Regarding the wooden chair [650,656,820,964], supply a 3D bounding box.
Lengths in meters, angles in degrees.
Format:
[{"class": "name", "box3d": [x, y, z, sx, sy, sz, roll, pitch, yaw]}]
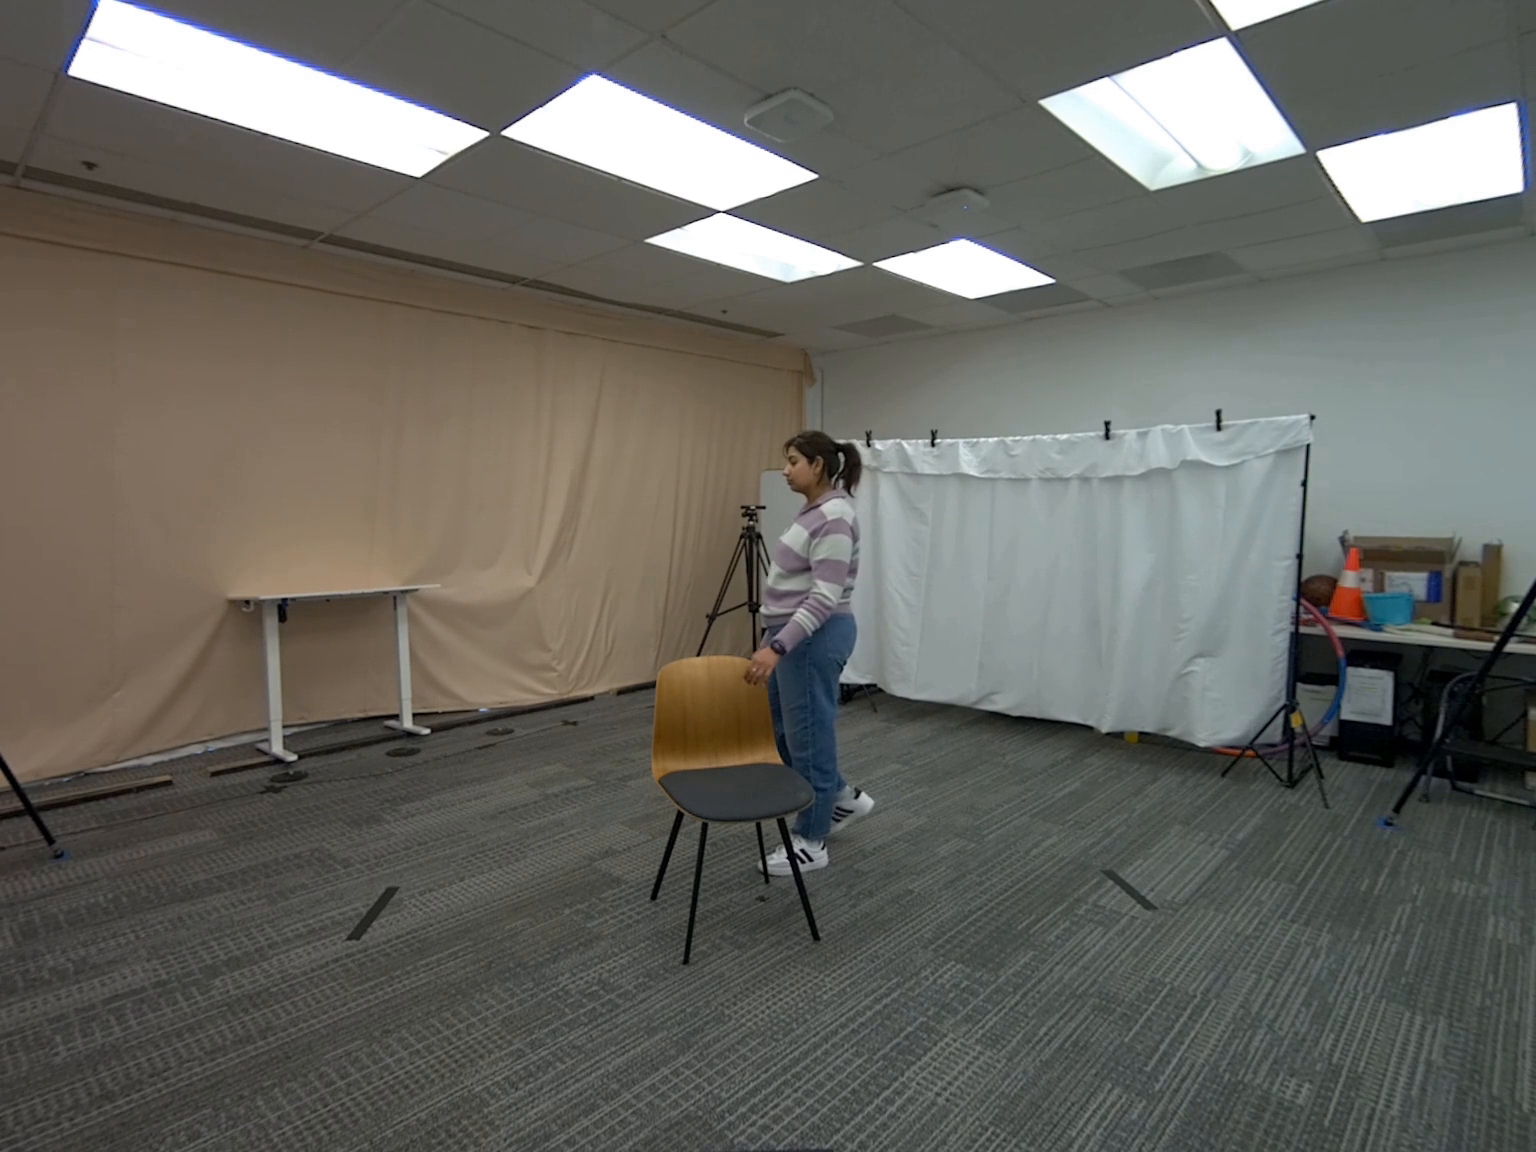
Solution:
[{"class": "wooden chair", "box3d": [-0.121, 0.734, 2.797, 0.469, 0.878, 0.533, -1, -1, -20]}]
